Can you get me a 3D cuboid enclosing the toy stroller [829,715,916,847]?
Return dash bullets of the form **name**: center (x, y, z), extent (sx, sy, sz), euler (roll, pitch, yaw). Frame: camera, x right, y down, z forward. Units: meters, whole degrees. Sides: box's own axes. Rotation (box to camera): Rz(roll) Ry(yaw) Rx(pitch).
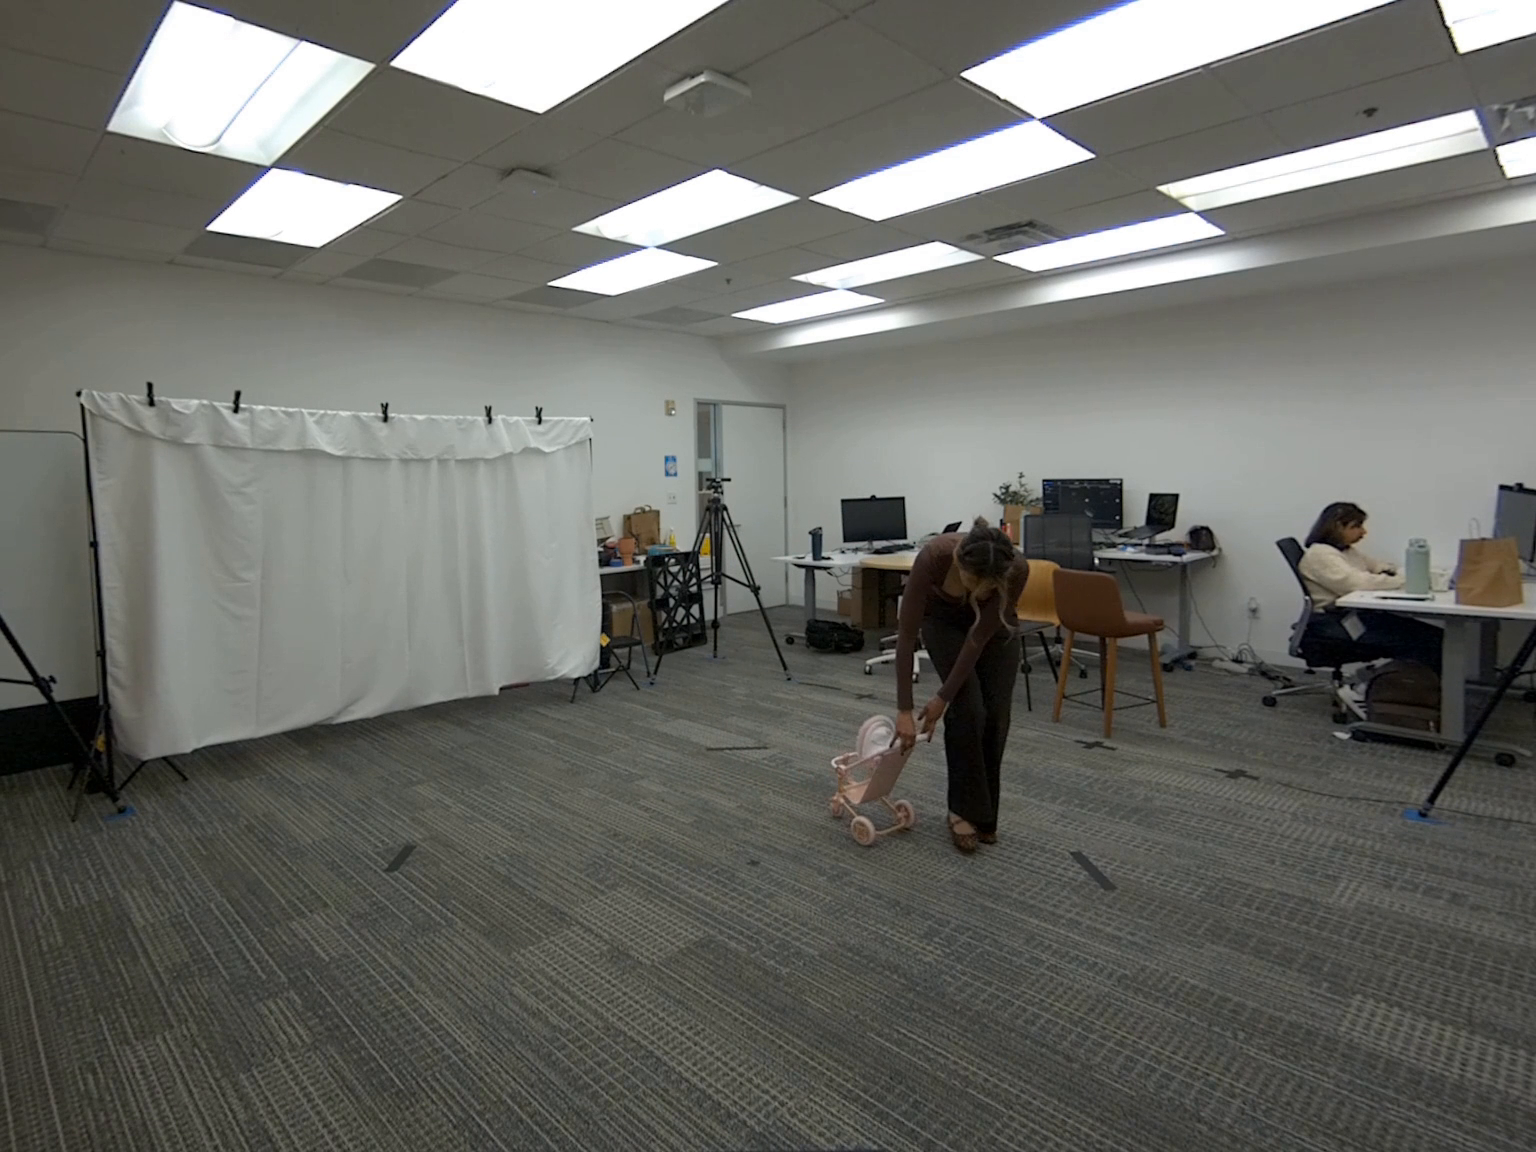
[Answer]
- **toy stroller**: center (0.412, 0.780, 3.354), extent (0.274, 0.528, 0.354), euler (-3, 21, -37)
